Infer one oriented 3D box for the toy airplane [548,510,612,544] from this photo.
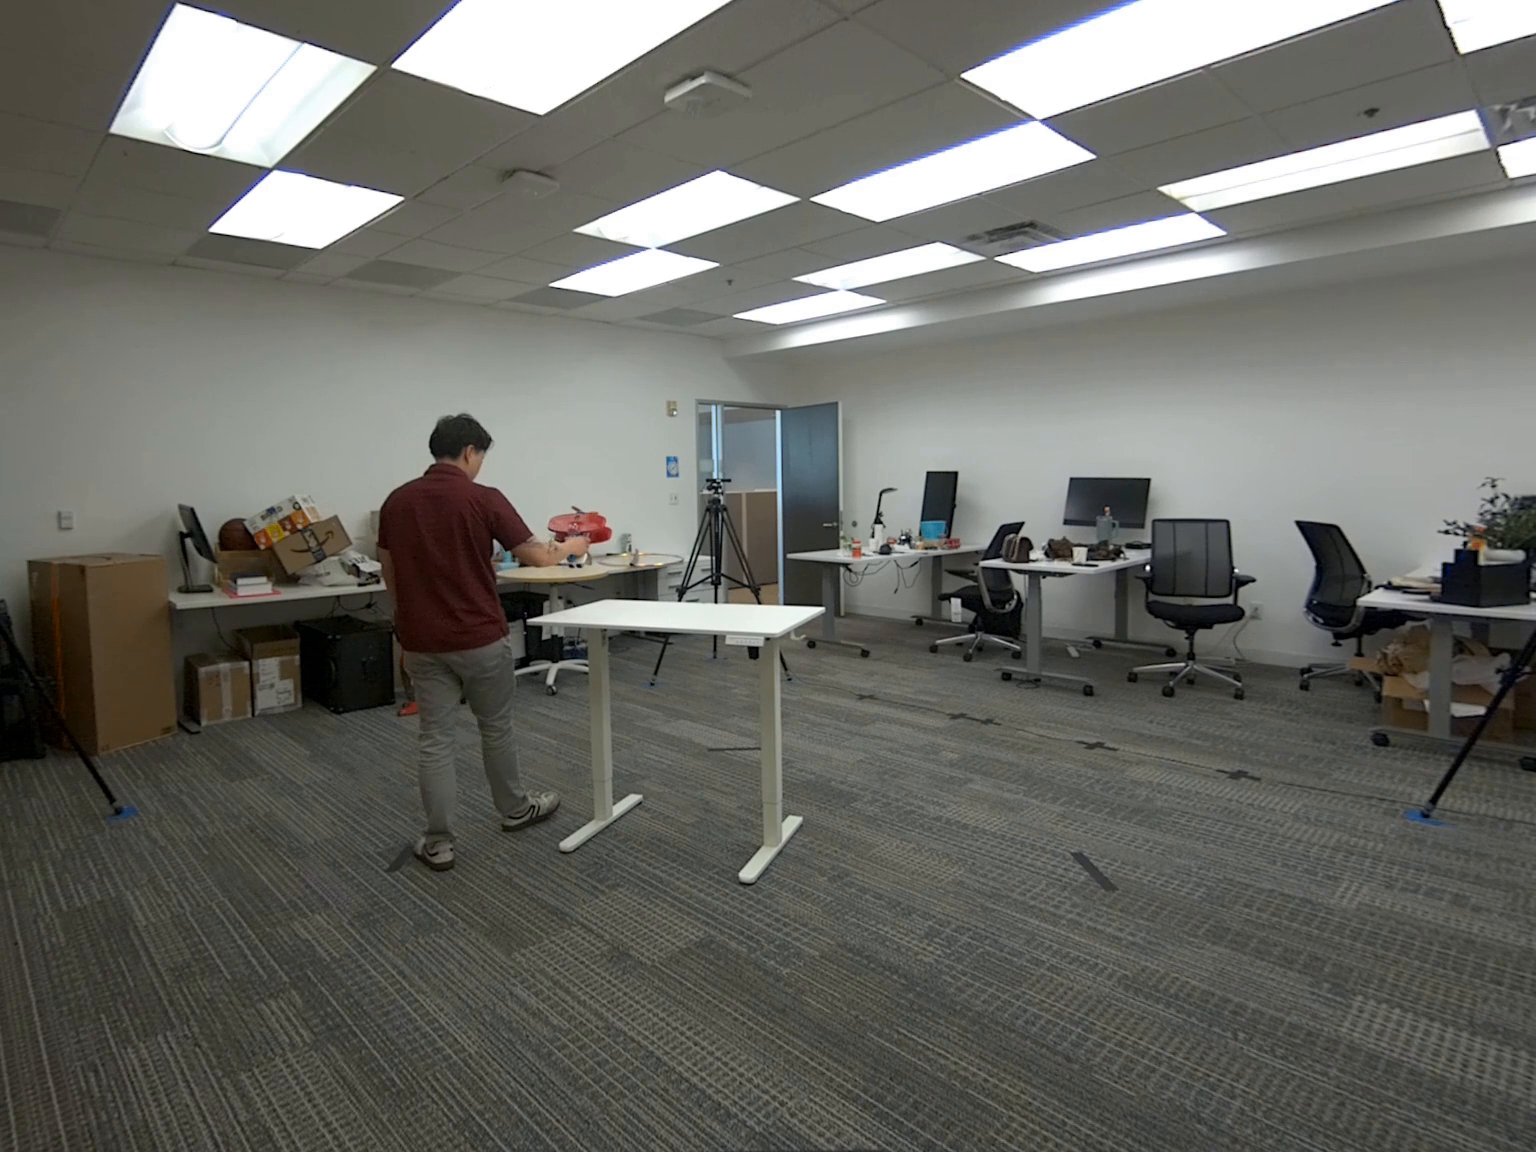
[{"bbox_3d":[-0.775,-0.161,3.581,0.249,0.151,0.269,-18,41,-10],"label":"toy airplane"}]
